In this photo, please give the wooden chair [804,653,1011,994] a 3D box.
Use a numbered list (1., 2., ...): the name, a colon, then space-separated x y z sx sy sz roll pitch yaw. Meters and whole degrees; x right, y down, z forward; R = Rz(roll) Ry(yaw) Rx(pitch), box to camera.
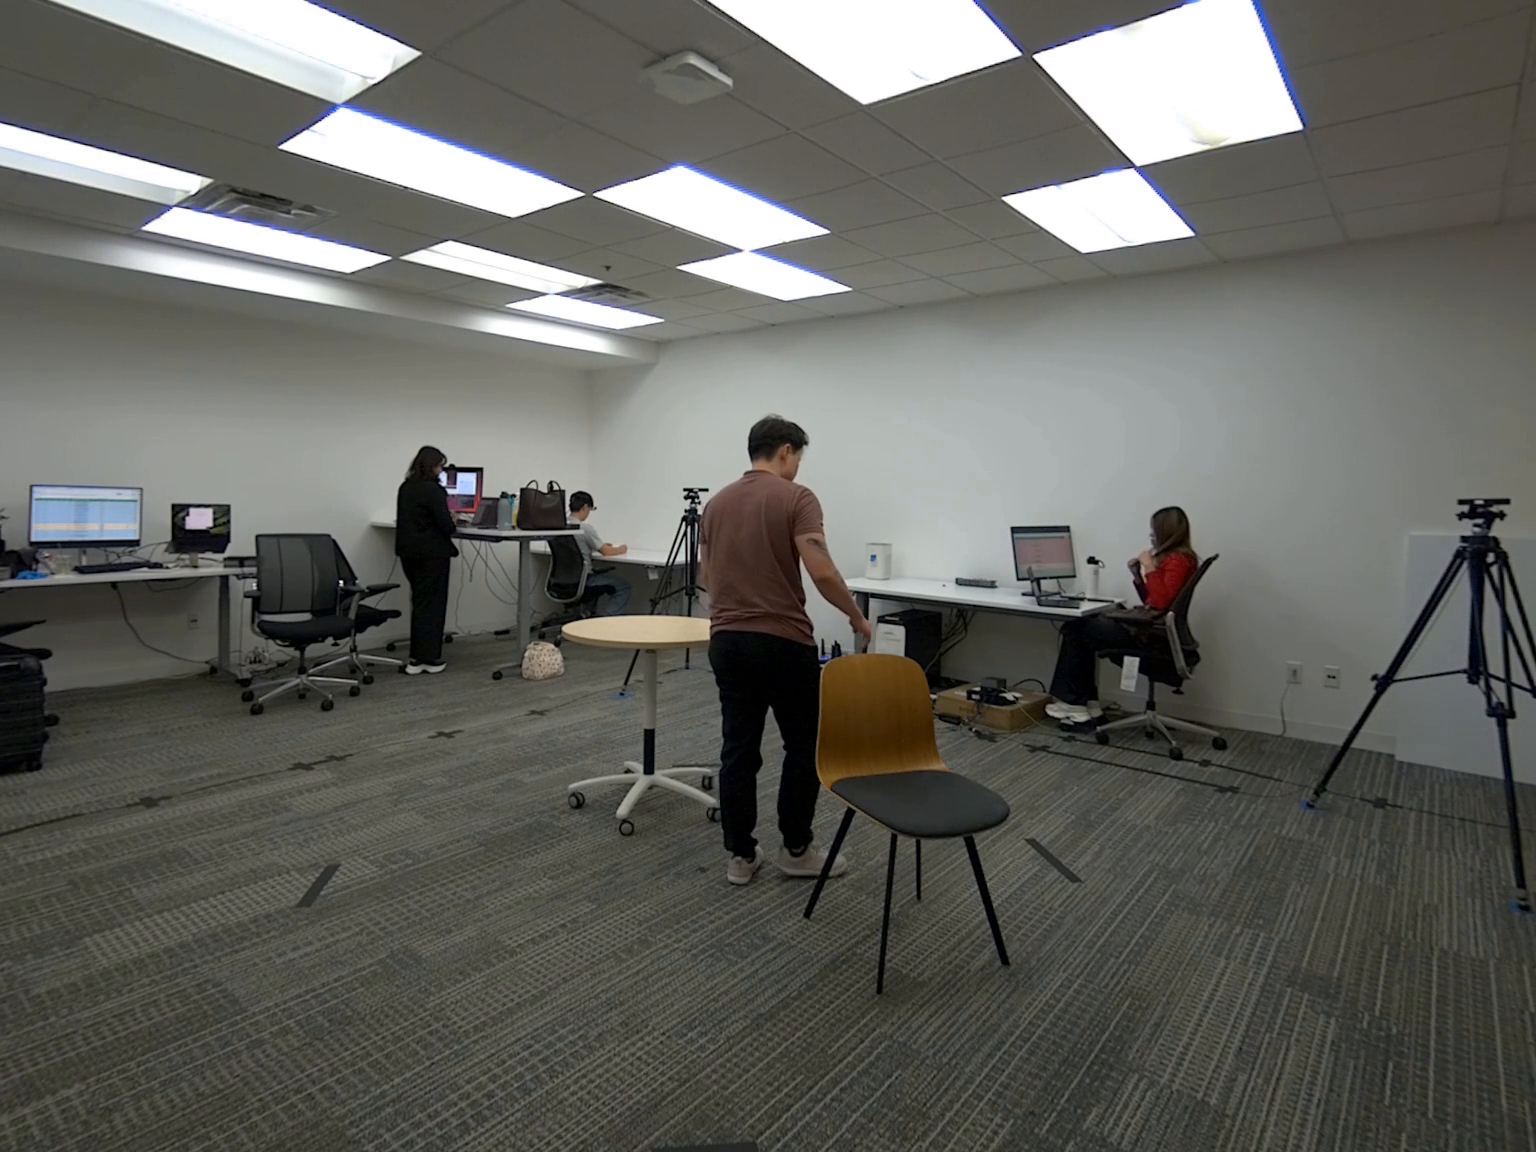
1. wooden chair: 0.420 0.705 2.609 0.467 0.878 0.535 0 0 -24
